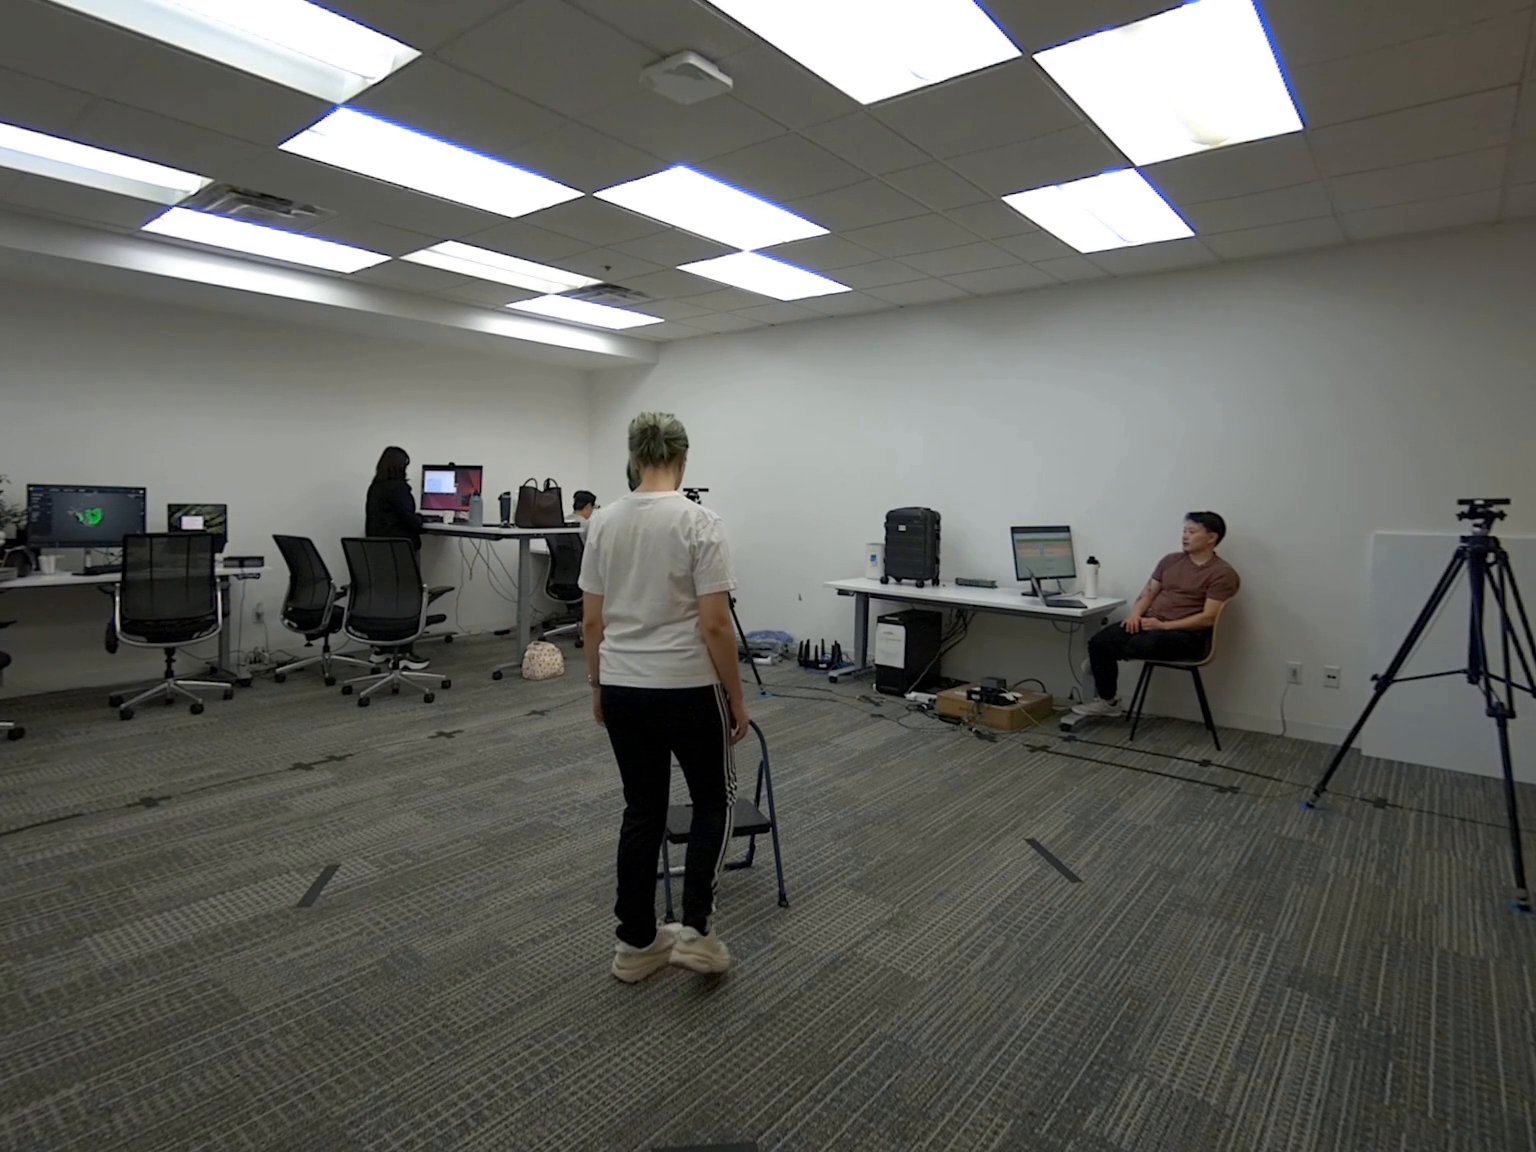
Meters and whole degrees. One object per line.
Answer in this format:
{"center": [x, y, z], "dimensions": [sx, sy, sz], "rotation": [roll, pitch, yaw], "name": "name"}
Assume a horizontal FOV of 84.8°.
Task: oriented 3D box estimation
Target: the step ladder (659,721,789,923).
{"center": [-0.190, 0.787, 2.924], "dimensions": [0.422, 0.605, 0.357], "rotation": [0, 3, -20], "name": "step ladder"}
